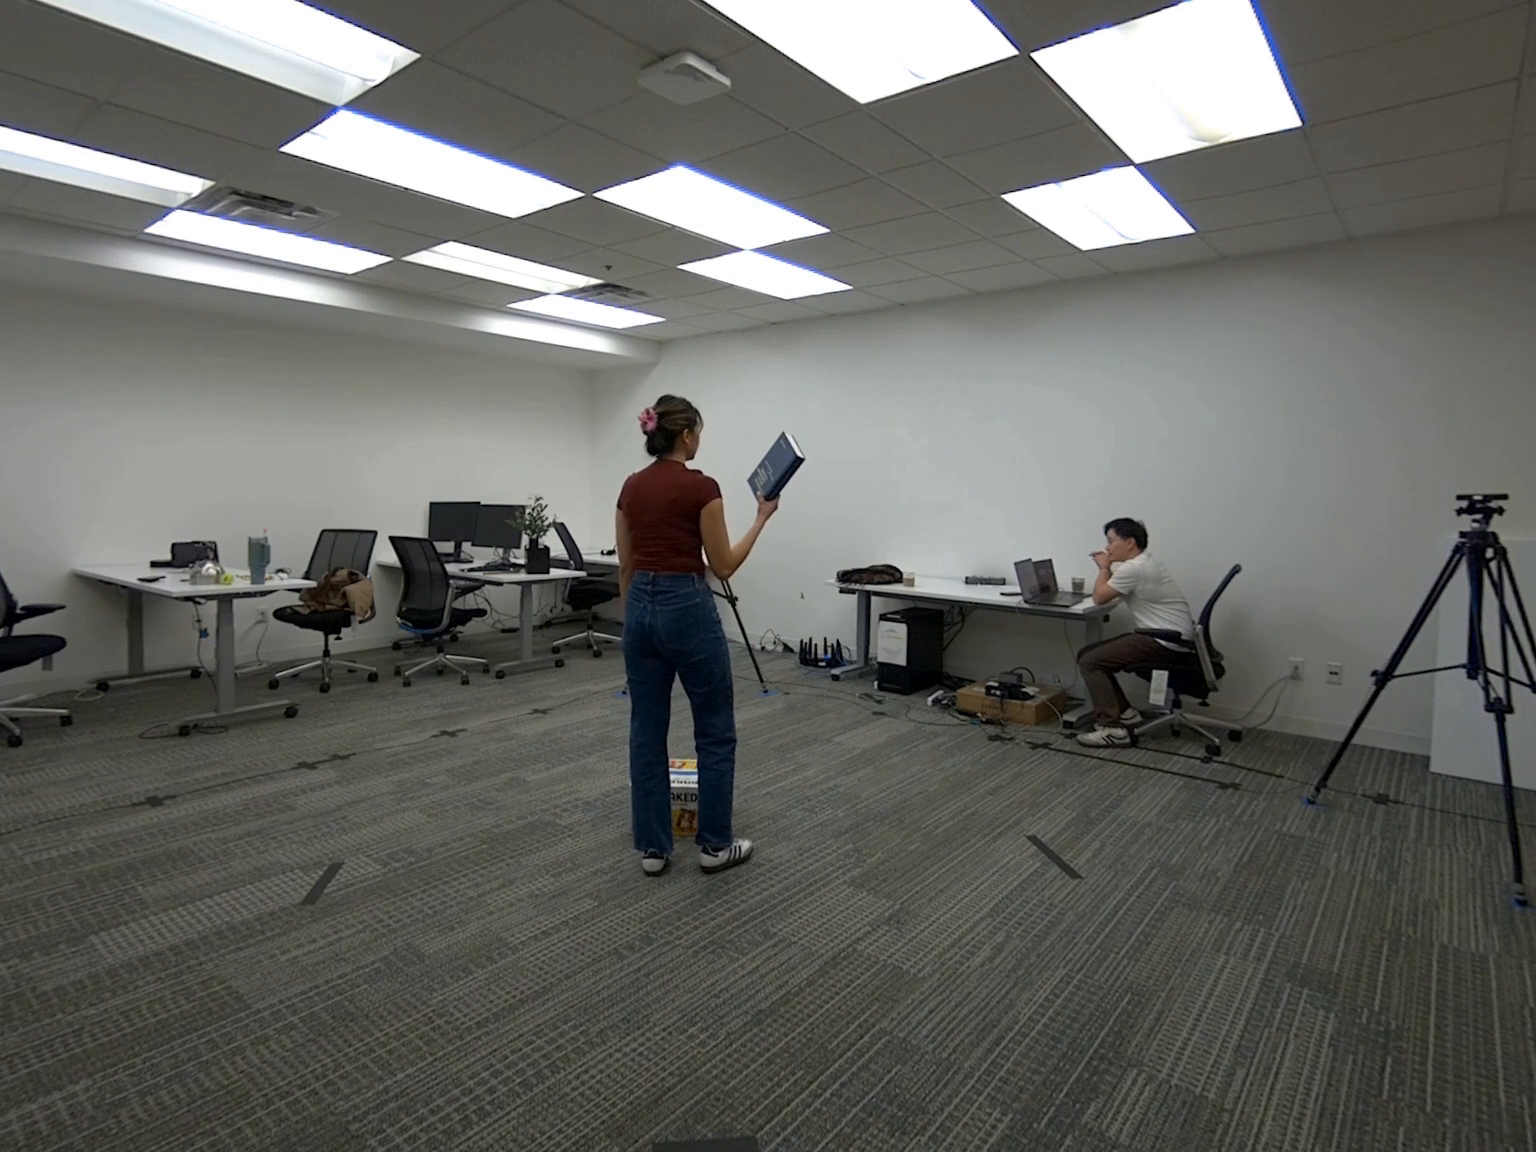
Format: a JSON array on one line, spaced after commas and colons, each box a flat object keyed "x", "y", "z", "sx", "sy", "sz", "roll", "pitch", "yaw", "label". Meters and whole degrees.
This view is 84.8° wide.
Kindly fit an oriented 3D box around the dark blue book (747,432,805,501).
[{"x": 0.019, "y": -0.393, "z": 3.154, "sx": 0.043, "sy": 0.244, "sz": 0.170, "roll": 22, "pitch": 30, "yaw": -33, "label": "dark blue book"}]
